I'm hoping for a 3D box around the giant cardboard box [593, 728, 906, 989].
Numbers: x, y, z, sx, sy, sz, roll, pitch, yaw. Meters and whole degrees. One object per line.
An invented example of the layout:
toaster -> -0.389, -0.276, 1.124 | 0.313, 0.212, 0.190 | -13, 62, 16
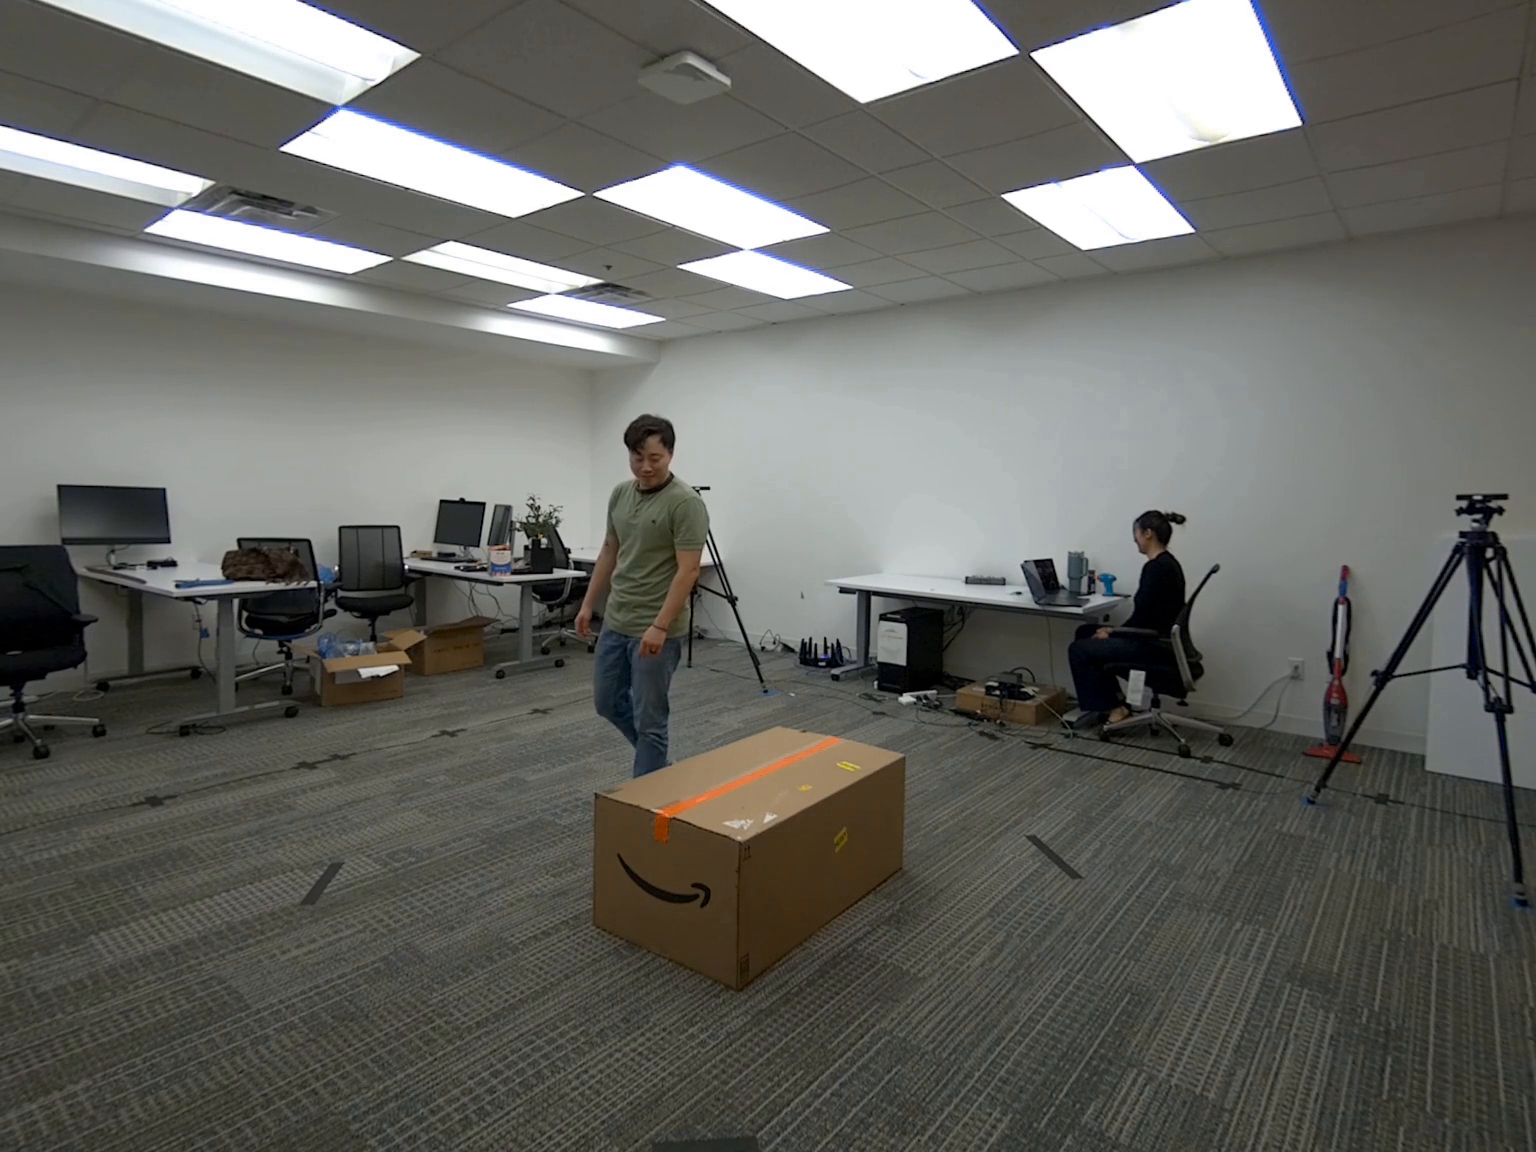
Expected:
giant cardboard box -> -0.031, 0.874, 2.902 | 0.596, 0.424, 0.997 | 5, 7, 36
